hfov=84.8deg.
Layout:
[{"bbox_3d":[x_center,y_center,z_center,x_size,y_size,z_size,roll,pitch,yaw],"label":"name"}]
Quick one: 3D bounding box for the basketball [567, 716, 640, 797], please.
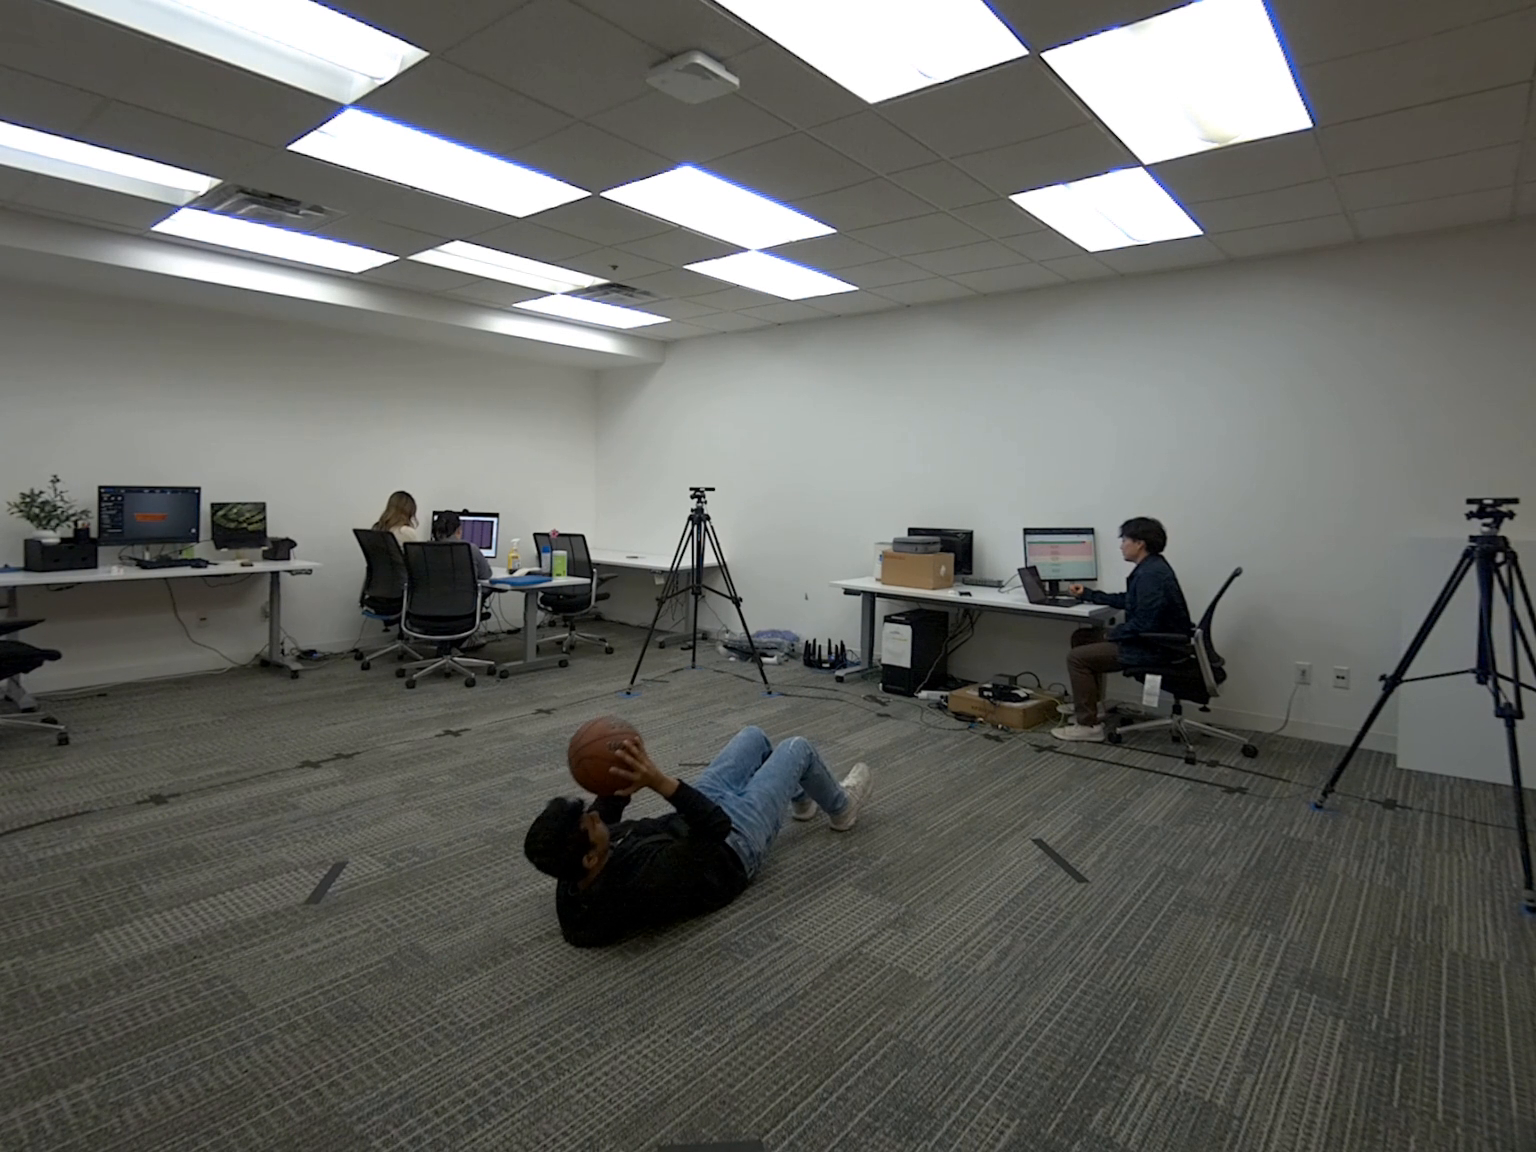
[{"bbox_3d":[-0.504,0.553,2.638,0.235,0.235,0.237,1,4,-2],"label":"basketball"}]
